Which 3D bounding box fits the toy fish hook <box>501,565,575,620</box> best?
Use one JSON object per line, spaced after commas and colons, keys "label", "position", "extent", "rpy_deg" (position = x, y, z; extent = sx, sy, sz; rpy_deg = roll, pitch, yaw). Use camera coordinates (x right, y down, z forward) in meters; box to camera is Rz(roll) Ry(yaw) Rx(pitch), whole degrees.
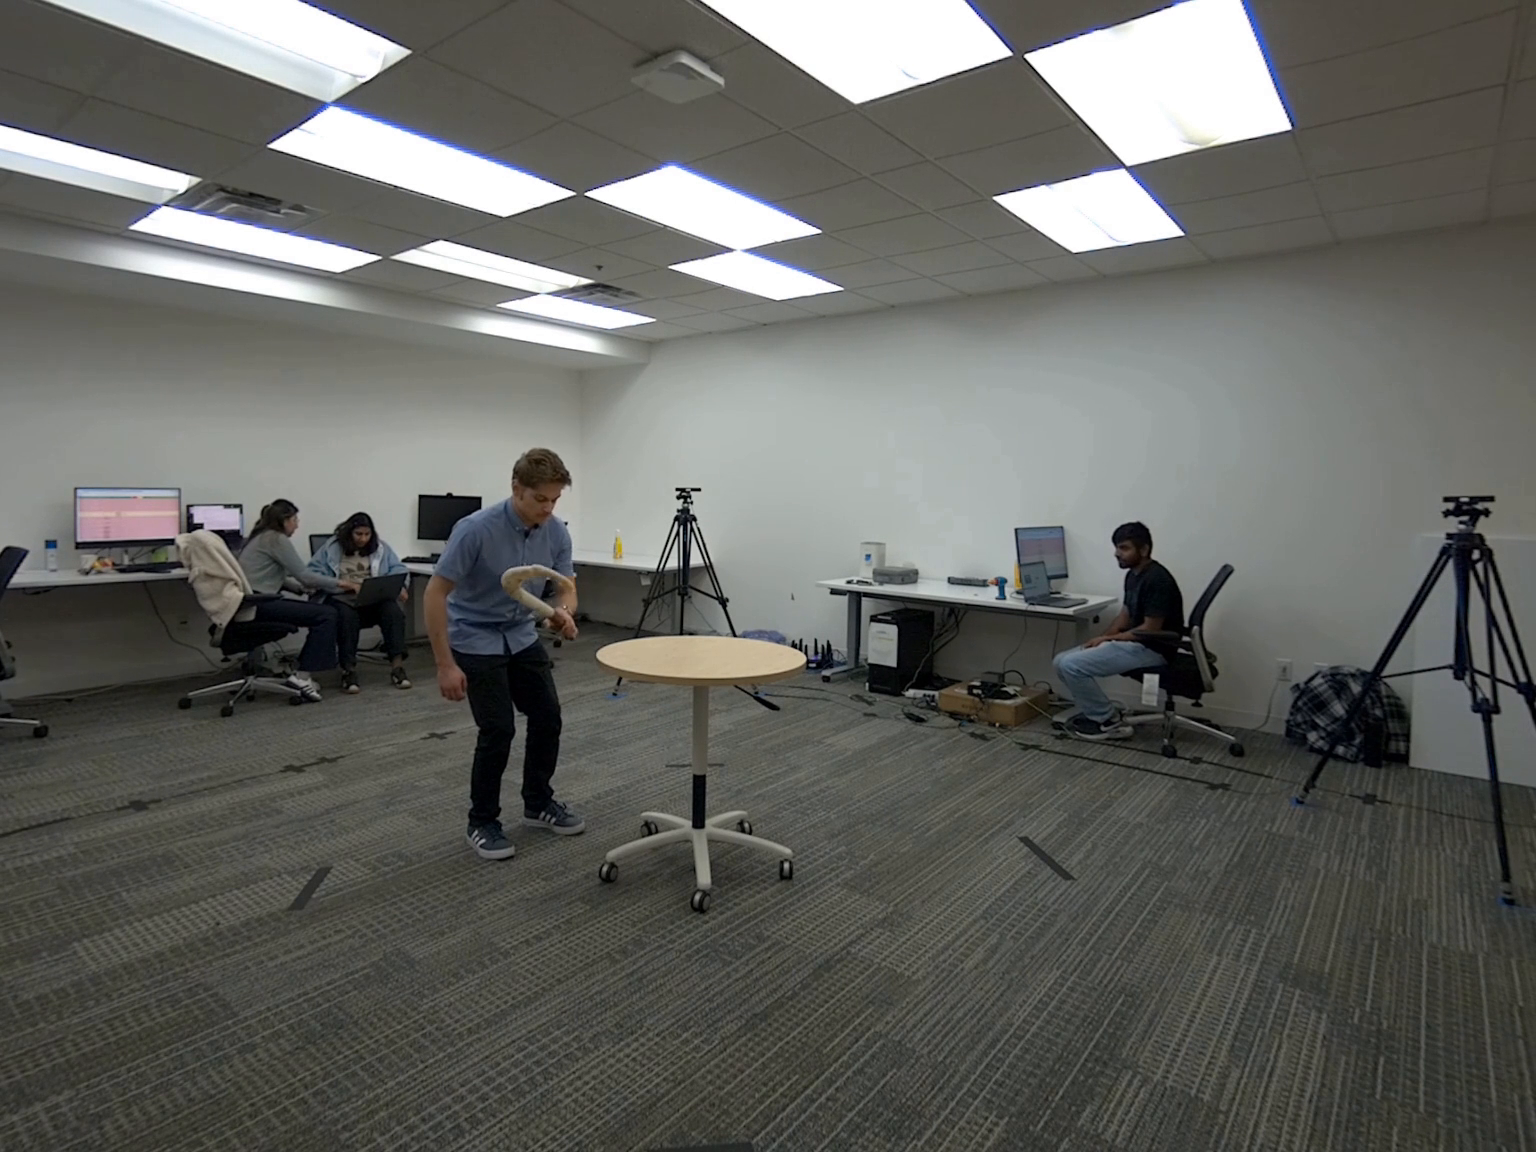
{"label": "toy fish hook", "position": [-0.745, 0.107, 2.939], "extent": [0.227, 0.049, 0.488], "rpy_deg": [-4, -31, 12]}
